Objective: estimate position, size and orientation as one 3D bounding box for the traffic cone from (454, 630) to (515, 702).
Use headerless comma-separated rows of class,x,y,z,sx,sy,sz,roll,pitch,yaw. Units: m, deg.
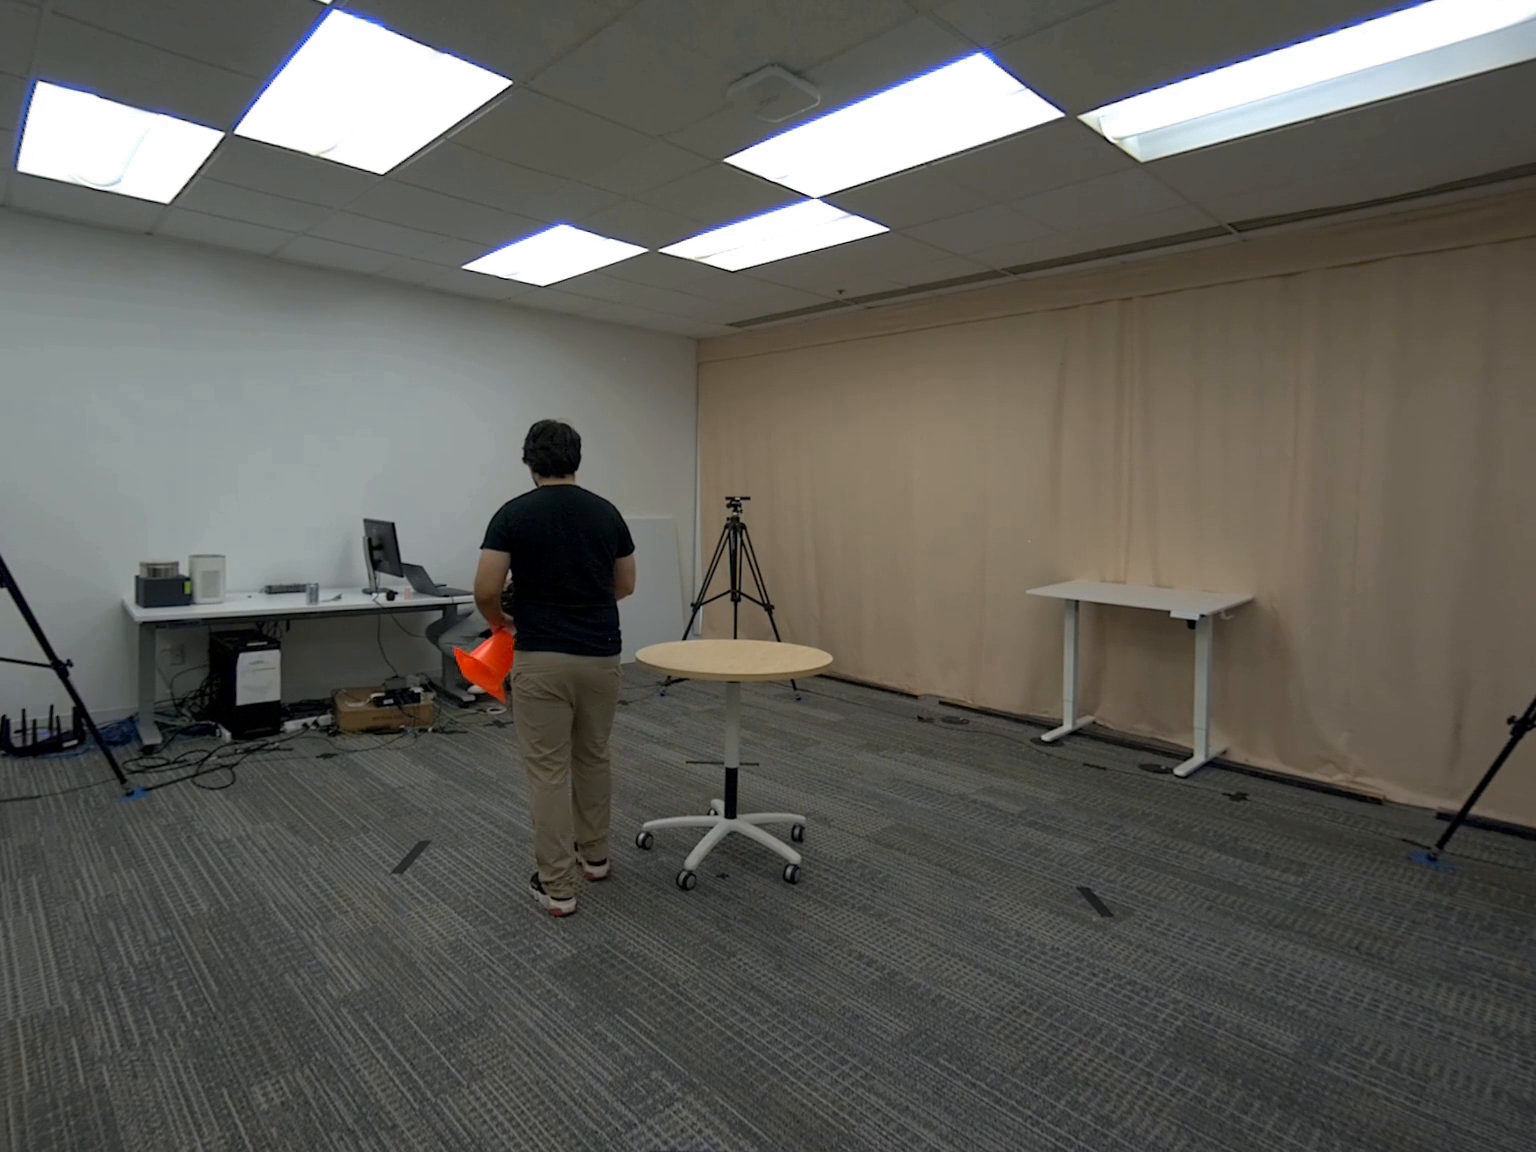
traffic cone,-0.910,0.222,3.031,0.207,0.201,0.385,23,49,17
